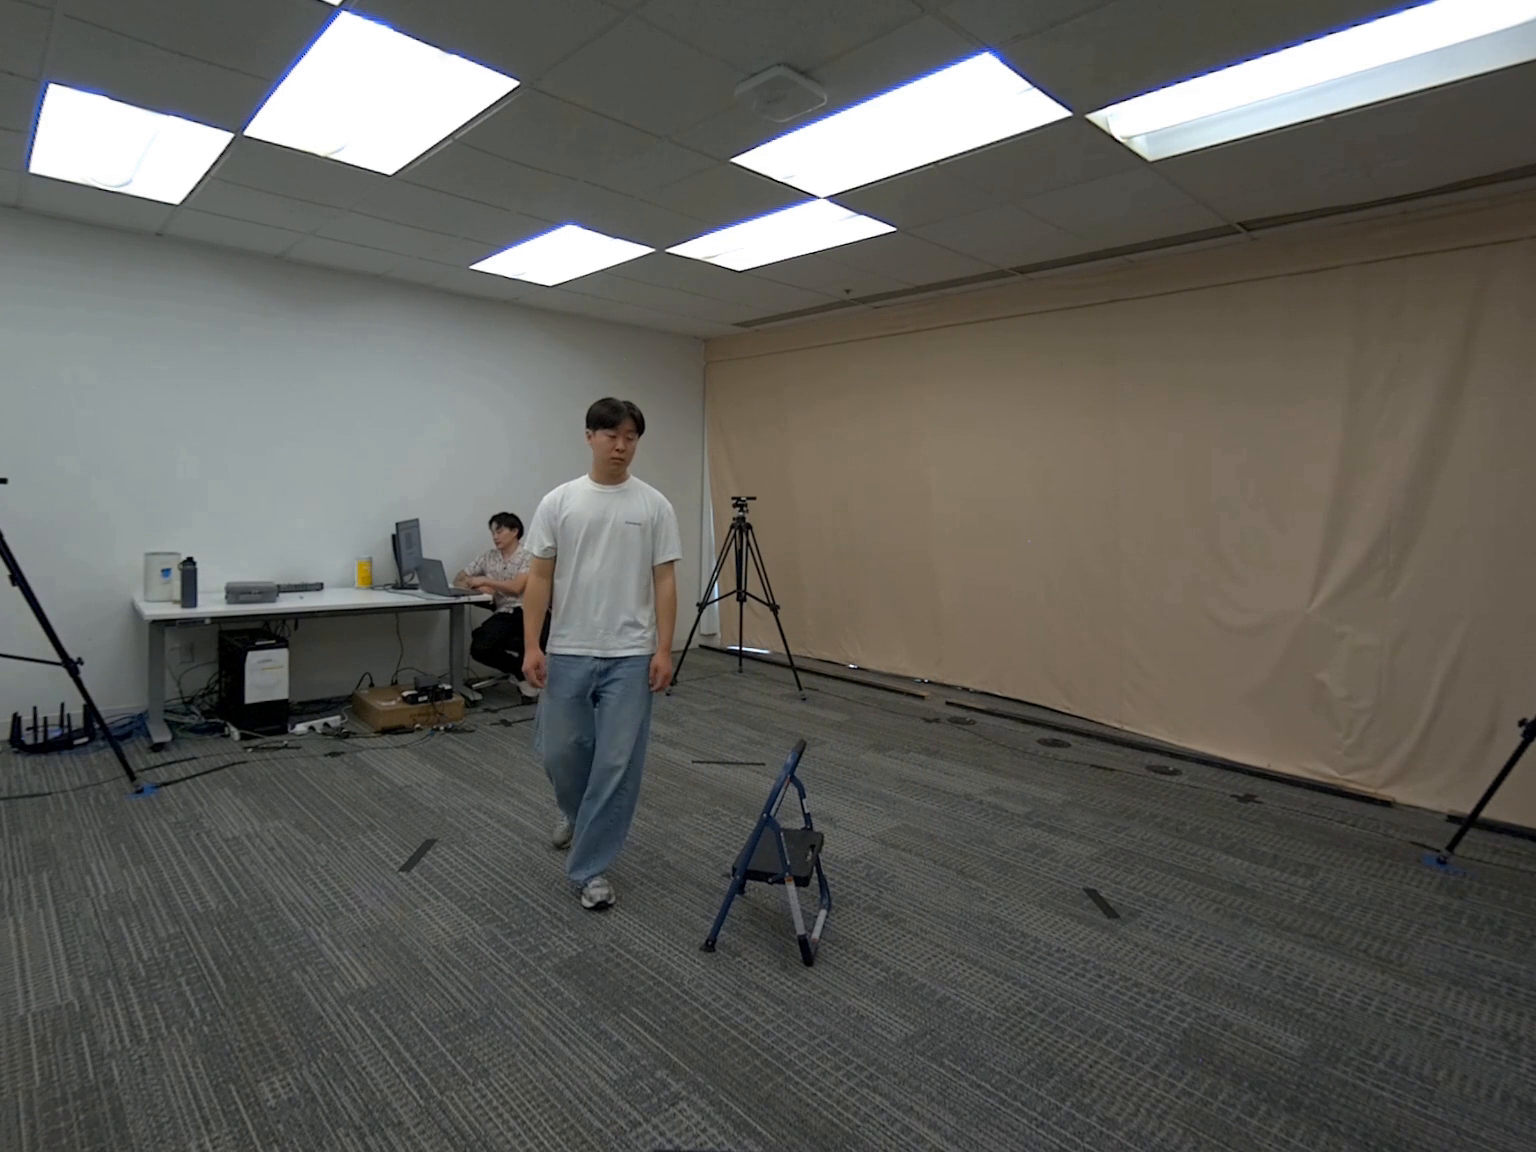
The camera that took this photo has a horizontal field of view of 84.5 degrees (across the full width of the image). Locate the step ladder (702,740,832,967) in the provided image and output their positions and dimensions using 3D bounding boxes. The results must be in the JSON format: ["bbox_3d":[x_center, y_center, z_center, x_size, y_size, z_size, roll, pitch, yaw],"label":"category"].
[{"bbox_3d":[0.015,0.841,2.720,0.353,0.604,0.427,3,4,13],"label":"step ladder"}]
